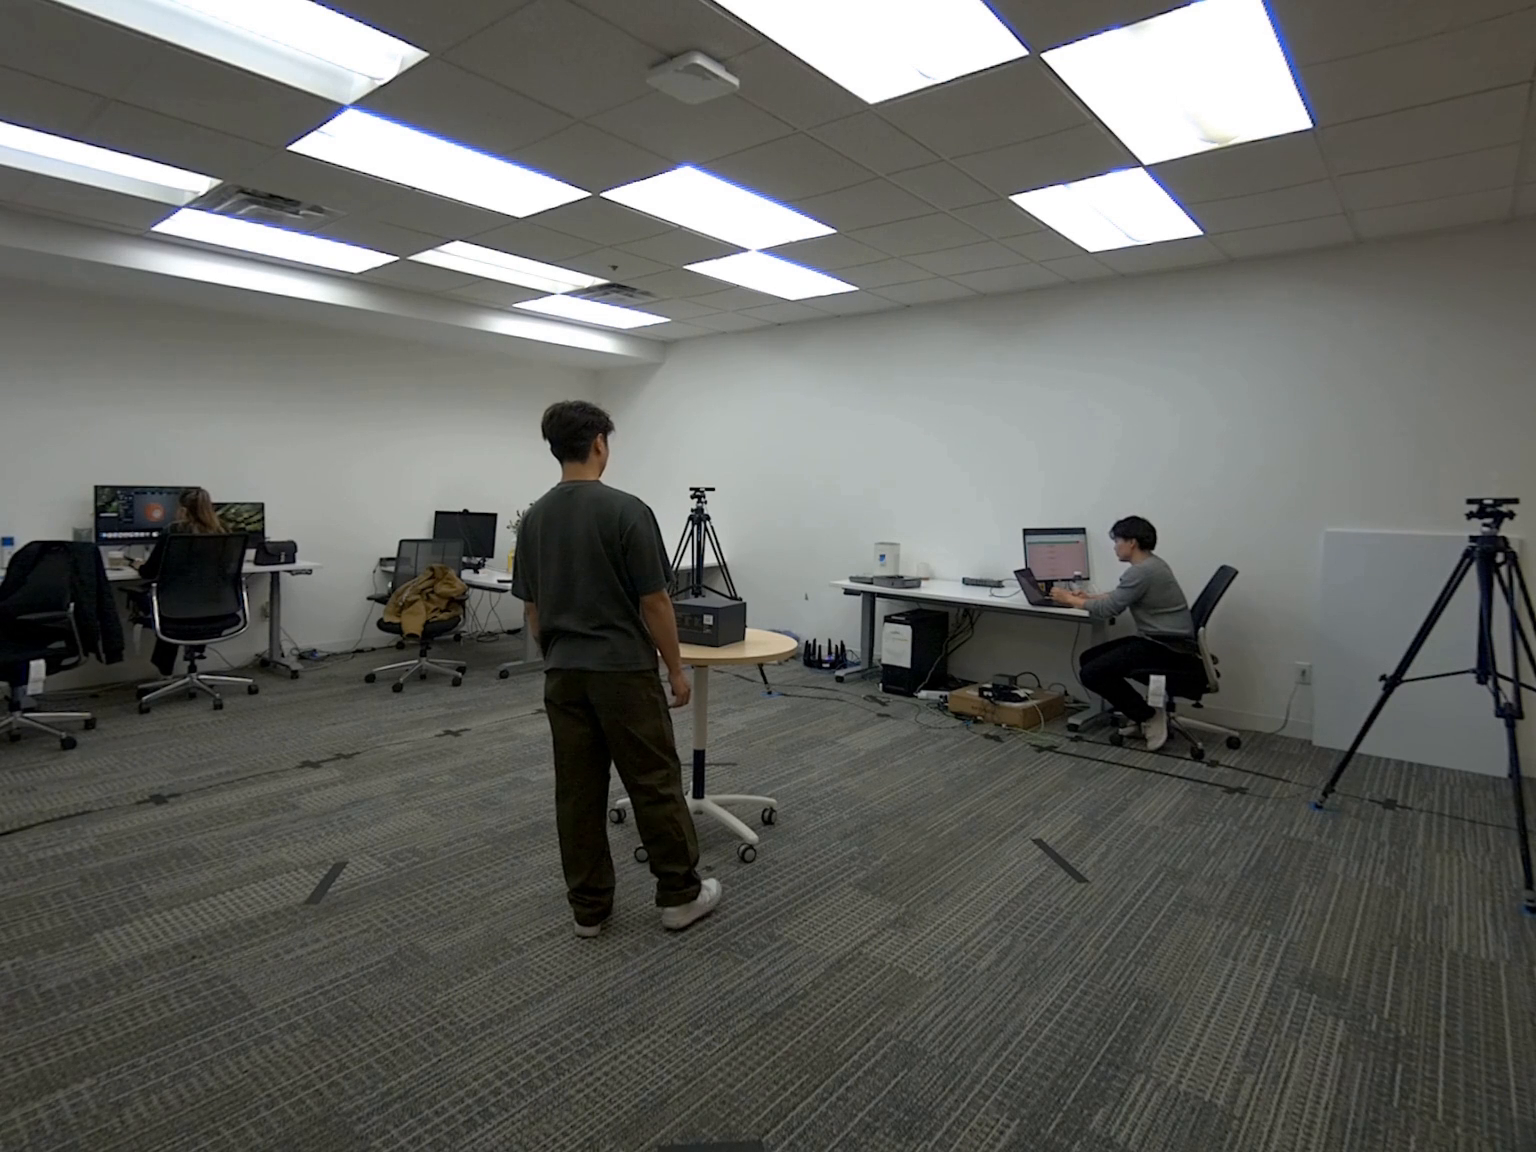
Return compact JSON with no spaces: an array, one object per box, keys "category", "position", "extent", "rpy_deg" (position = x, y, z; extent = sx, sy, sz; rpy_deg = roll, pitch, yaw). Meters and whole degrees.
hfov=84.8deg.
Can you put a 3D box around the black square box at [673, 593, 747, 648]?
[{"category":"black square box","position":[-0.248,0.176,3.382],"extent":[0.223,0.155,0.222],"rpy_deg":[4,5,28]}]
